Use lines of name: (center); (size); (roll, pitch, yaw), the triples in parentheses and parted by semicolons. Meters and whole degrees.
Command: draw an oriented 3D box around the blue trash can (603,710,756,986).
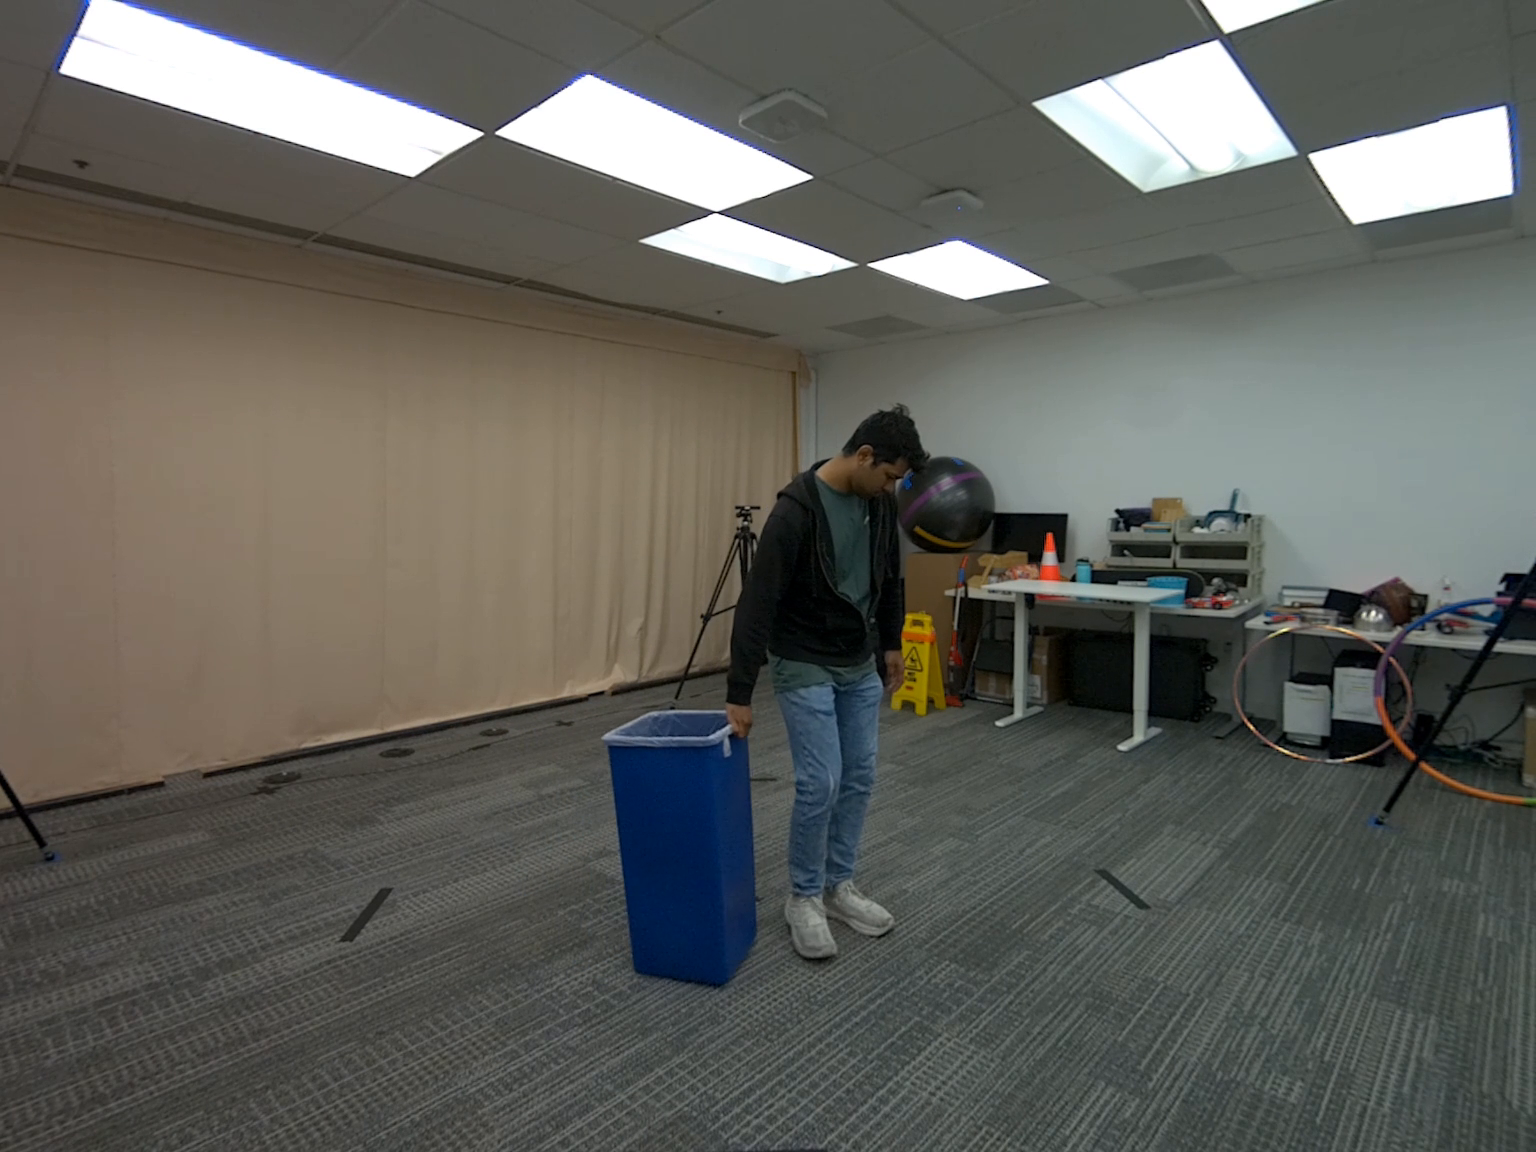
blue trash can: (-0.250, 0.812, 2.603); (0.385, 0.713, 0.367); (-4, 2, 18)
